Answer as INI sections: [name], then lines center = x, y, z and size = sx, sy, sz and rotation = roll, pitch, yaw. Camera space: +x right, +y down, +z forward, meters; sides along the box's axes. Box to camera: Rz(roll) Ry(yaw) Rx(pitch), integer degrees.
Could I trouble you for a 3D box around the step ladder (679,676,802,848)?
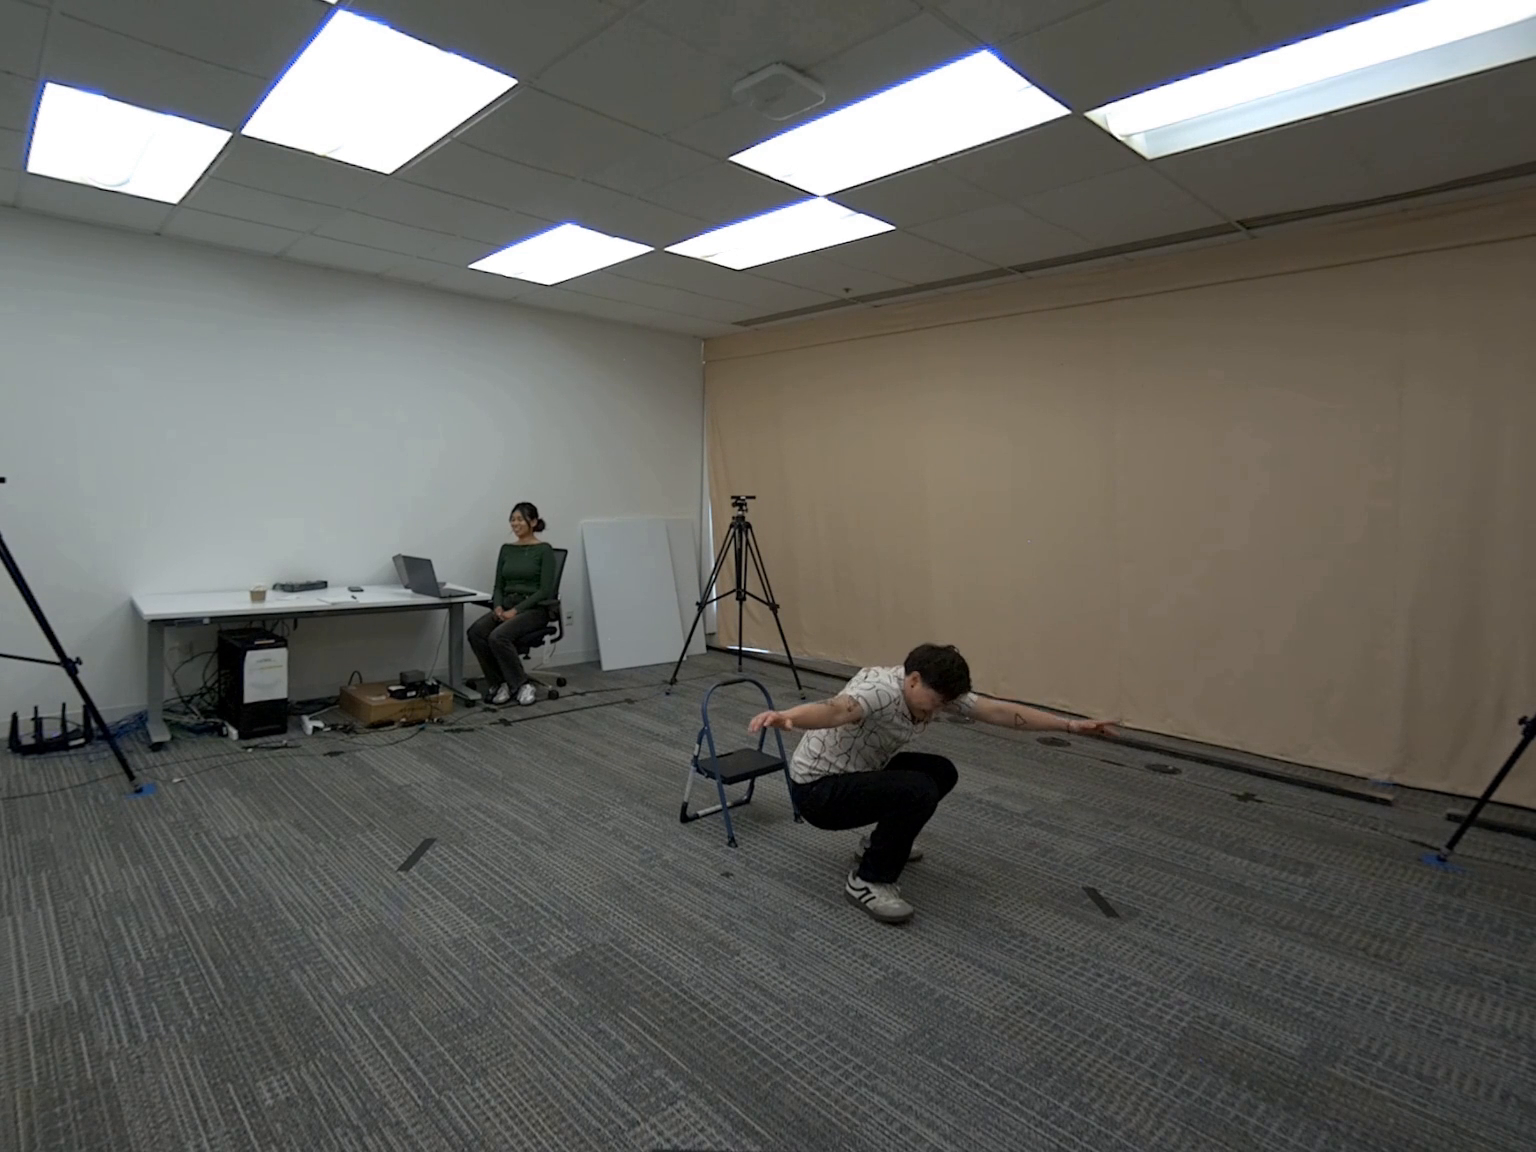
[step ladder]
center = -0.114, 0.754, 3.600
size = 0.358, 0.604, 0.421
rotation = 5, 5, 44
